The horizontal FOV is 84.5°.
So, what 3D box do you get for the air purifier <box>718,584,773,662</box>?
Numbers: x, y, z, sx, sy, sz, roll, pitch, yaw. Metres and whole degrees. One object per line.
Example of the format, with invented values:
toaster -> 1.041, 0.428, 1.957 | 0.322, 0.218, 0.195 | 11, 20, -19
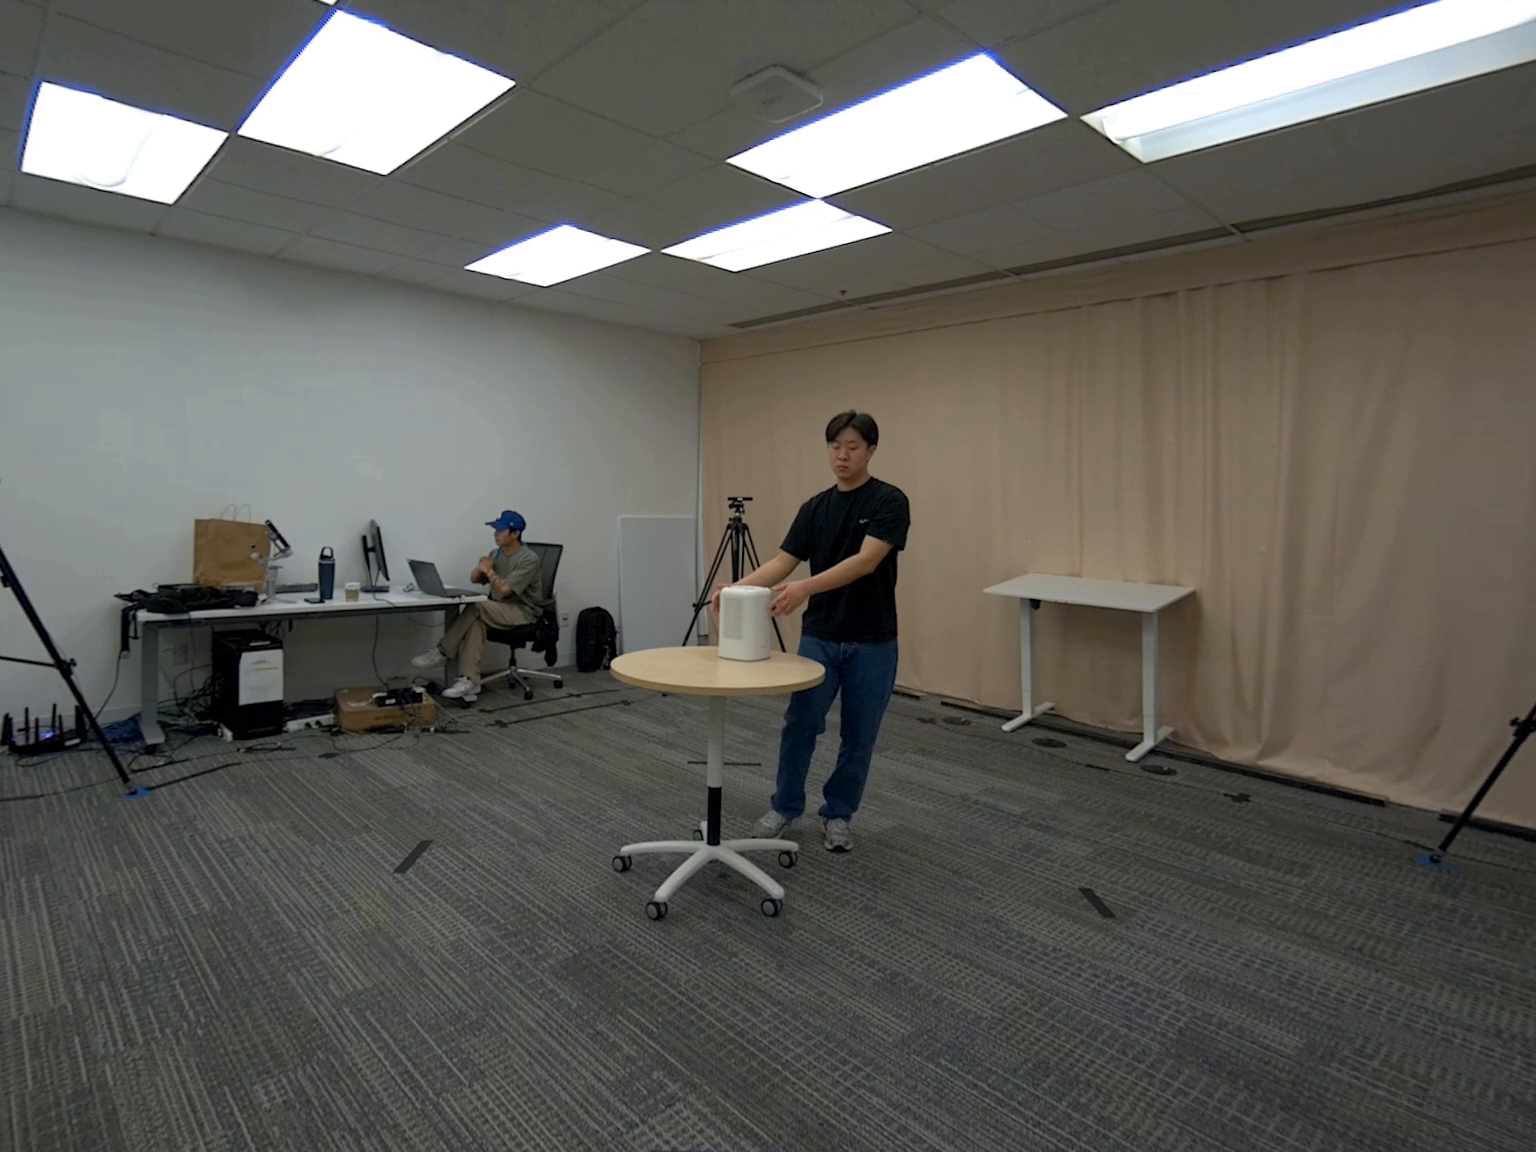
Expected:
air purifier -> -0.092, 0.173, 3.181 | 0.175, 0.265, 0.167 | 4, 3, 34
